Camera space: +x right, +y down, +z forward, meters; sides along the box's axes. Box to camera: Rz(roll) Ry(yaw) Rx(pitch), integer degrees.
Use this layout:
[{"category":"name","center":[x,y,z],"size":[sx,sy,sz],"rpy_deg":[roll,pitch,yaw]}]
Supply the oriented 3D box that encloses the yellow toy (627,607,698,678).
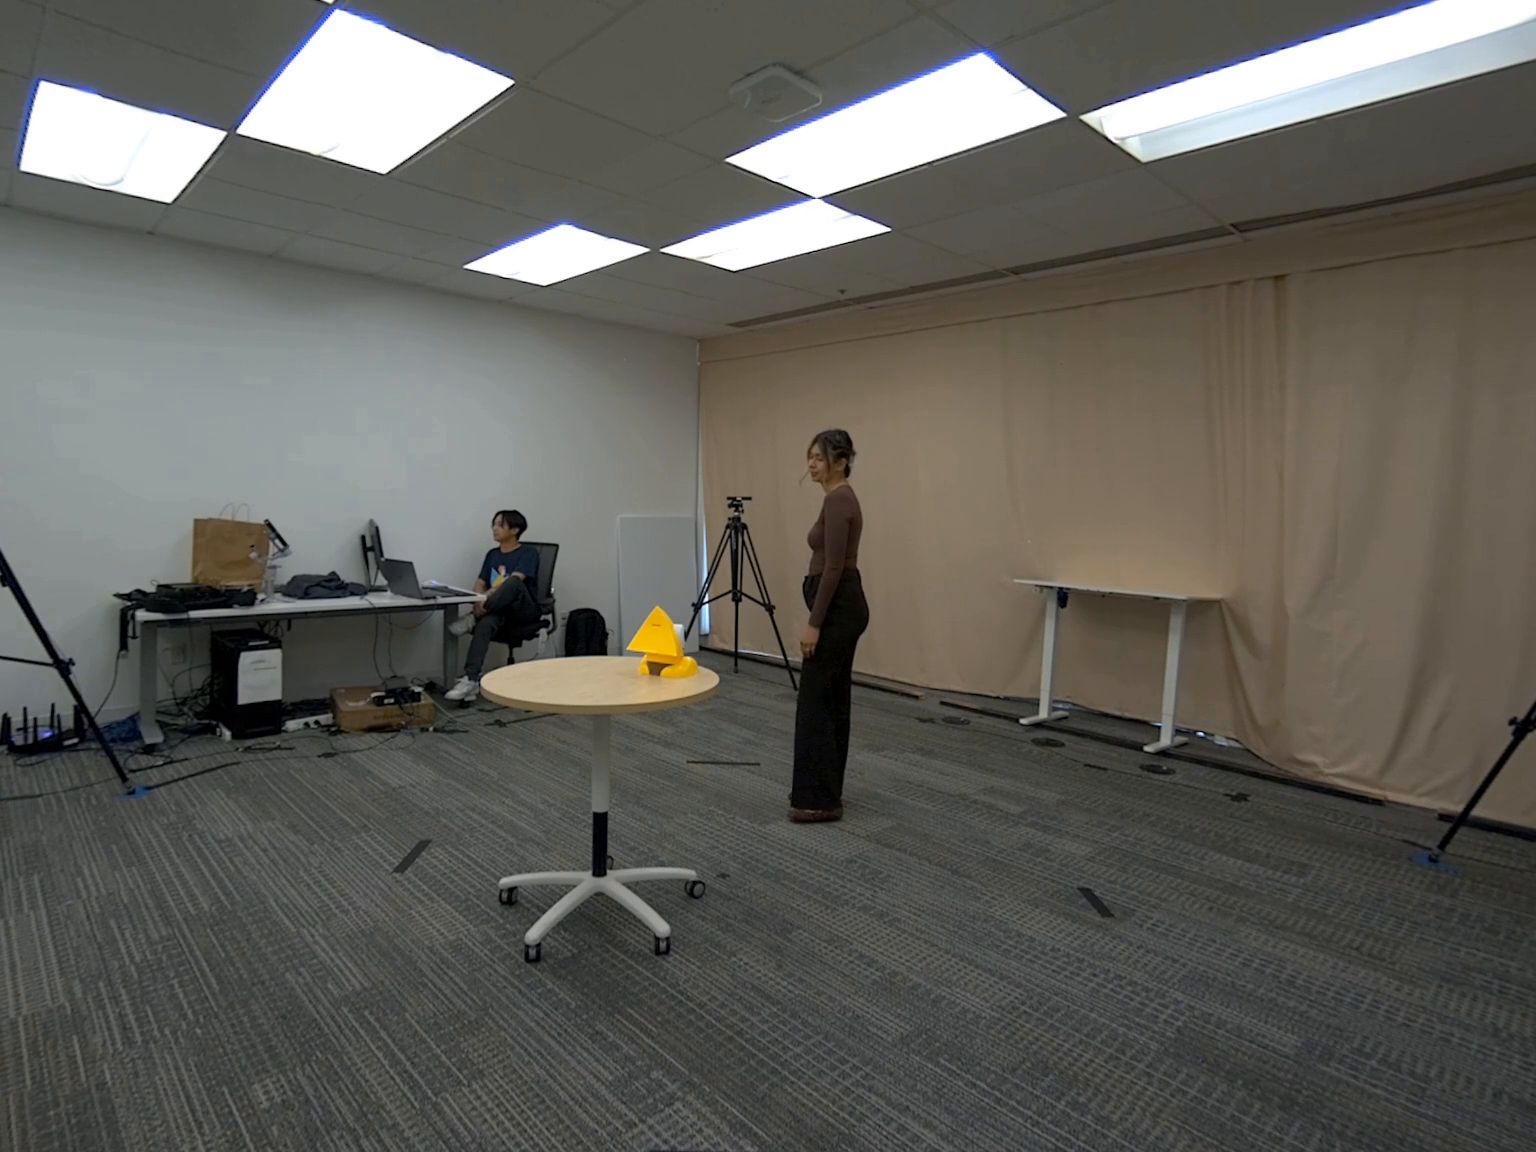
[{"category":"yellow toy","center":[-0.348,0.214,2.851],"size":[0.209,0.230,0.189],"rpy_deg":[3,4,29]}]
